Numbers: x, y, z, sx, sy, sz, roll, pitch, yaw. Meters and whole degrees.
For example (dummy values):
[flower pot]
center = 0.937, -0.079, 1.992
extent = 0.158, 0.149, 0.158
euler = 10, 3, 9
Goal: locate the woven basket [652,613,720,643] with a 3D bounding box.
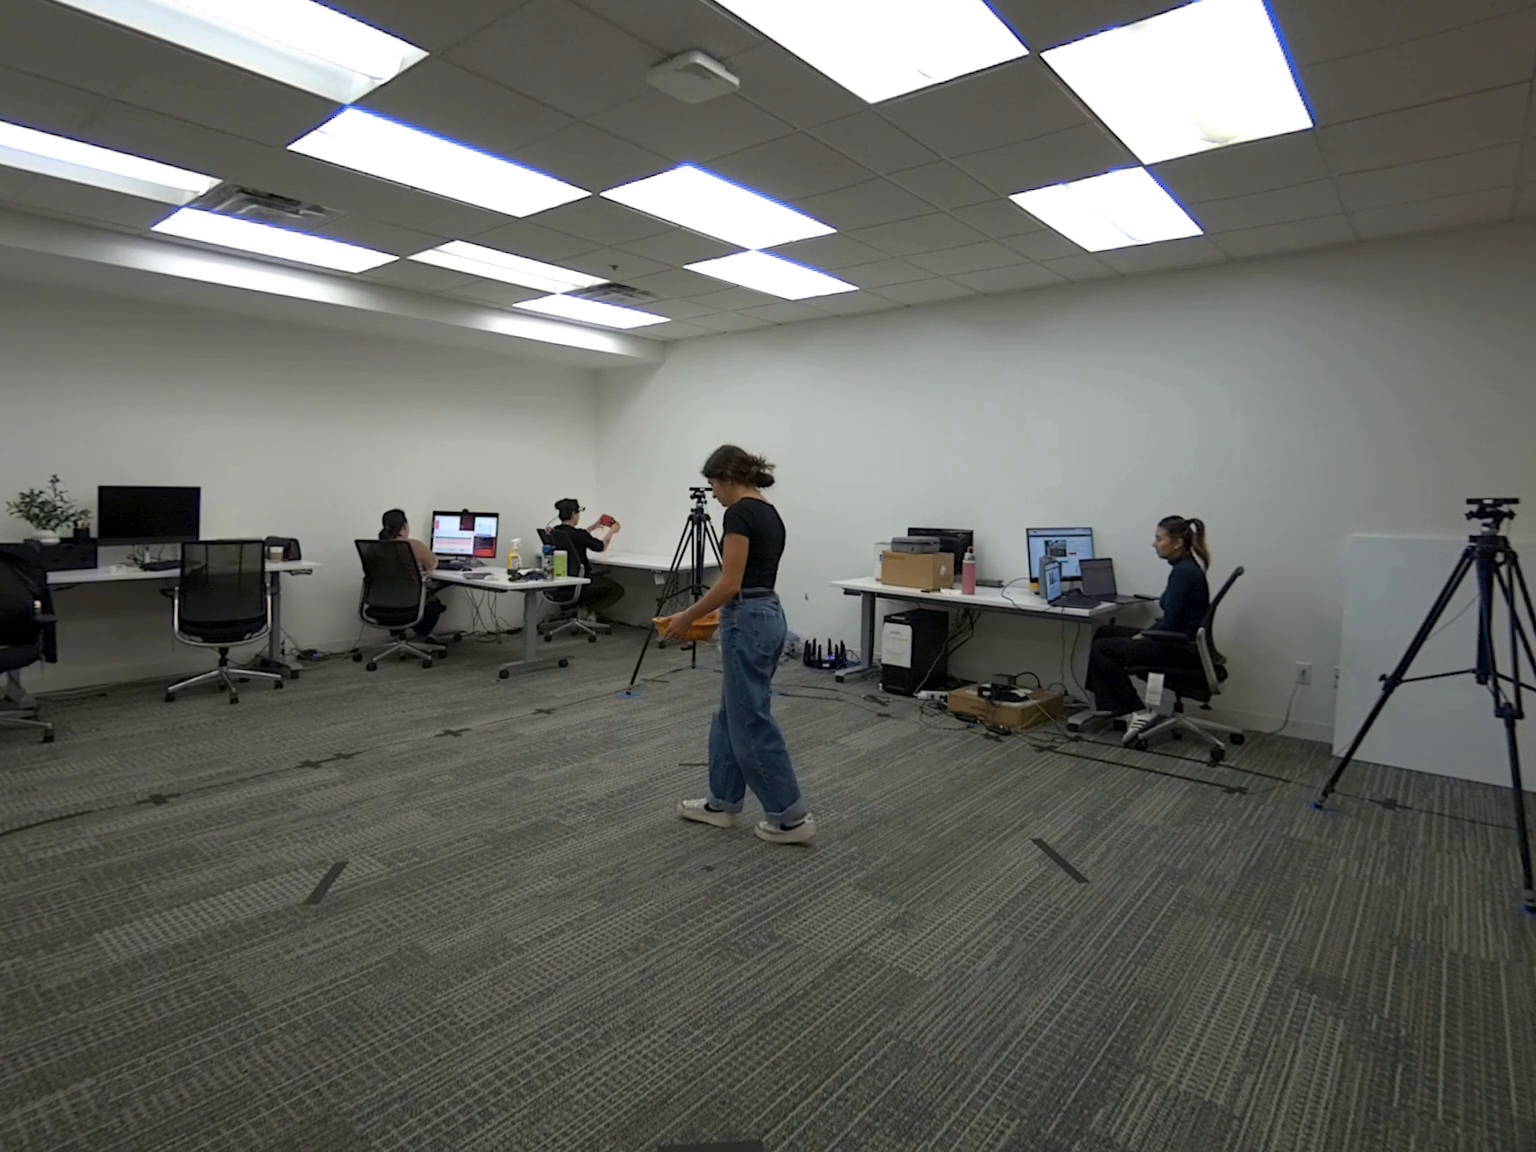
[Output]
[woven basket]
center = -0.331, 0.219, 3.552
extent = 0.260, 0.073, 0.340
euler = 3, 1, 30
